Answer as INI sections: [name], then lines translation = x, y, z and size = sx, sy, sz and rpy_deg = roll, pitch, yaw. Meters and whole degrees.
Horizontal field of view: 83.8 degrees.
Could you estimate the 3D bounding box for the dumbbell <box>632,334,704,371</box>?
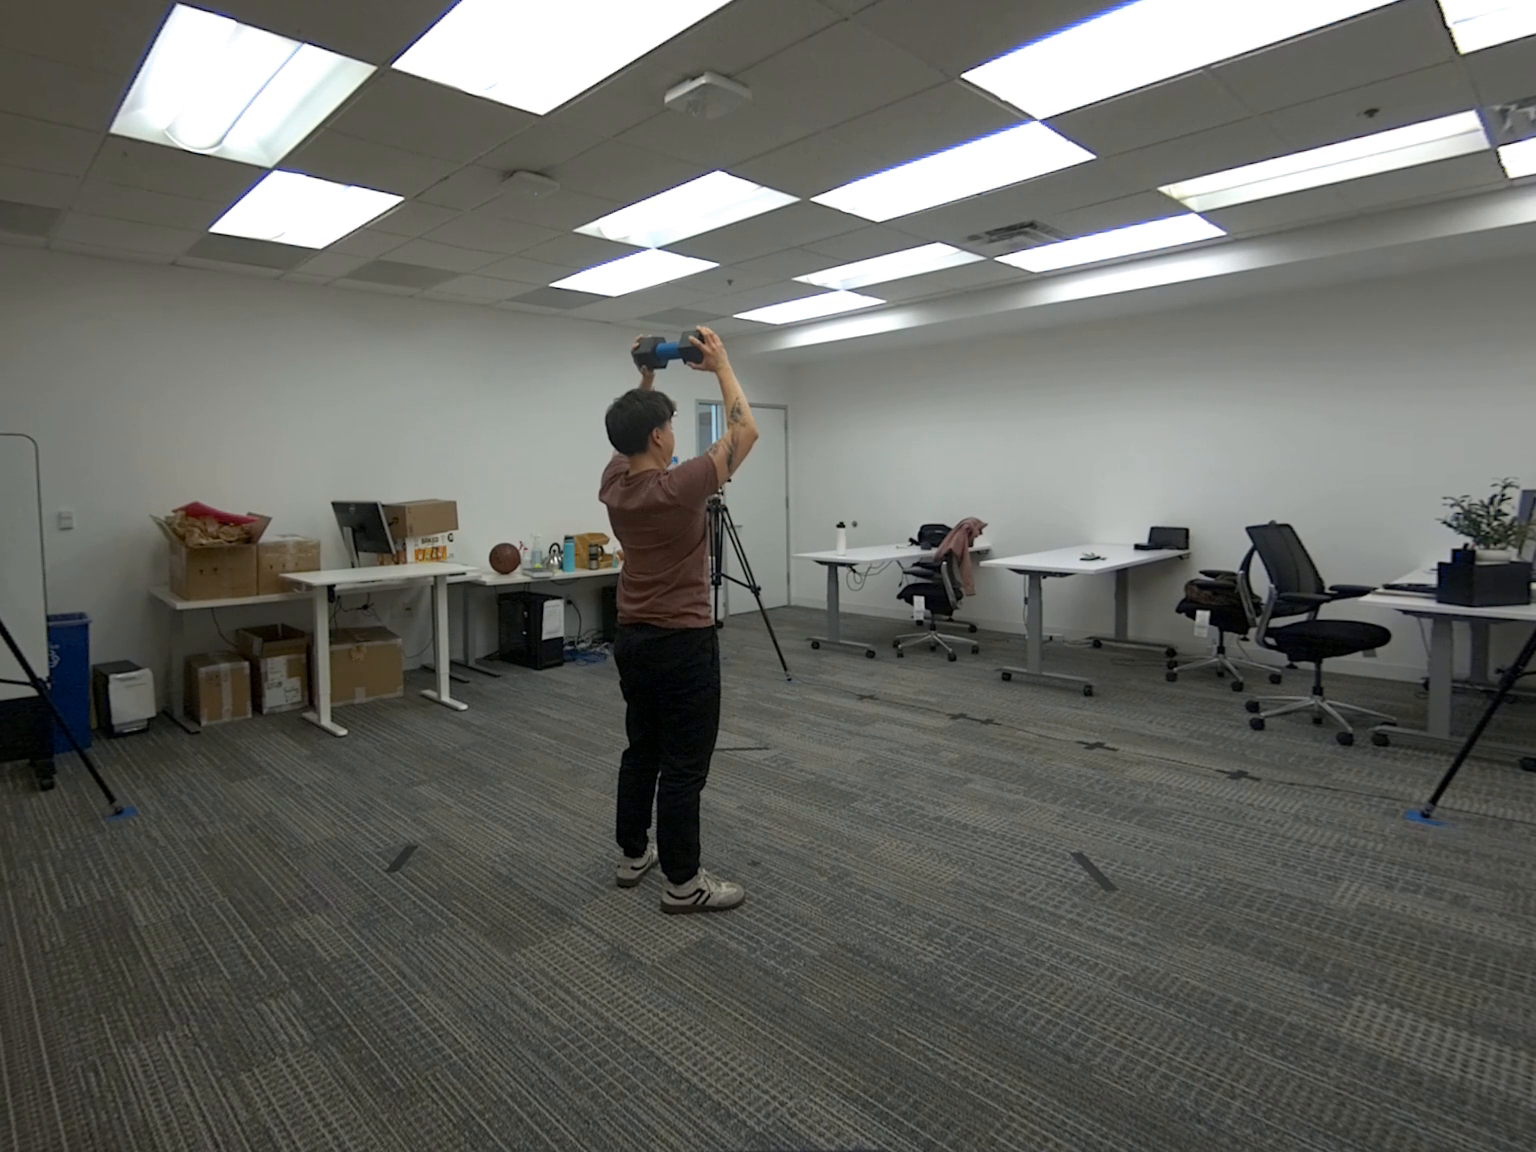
[dumbbell]
translation = -0.313, -0.748, 2.860
size = 0.303, 0.119, 0.109
rpy_deg = 6, 44, 42
